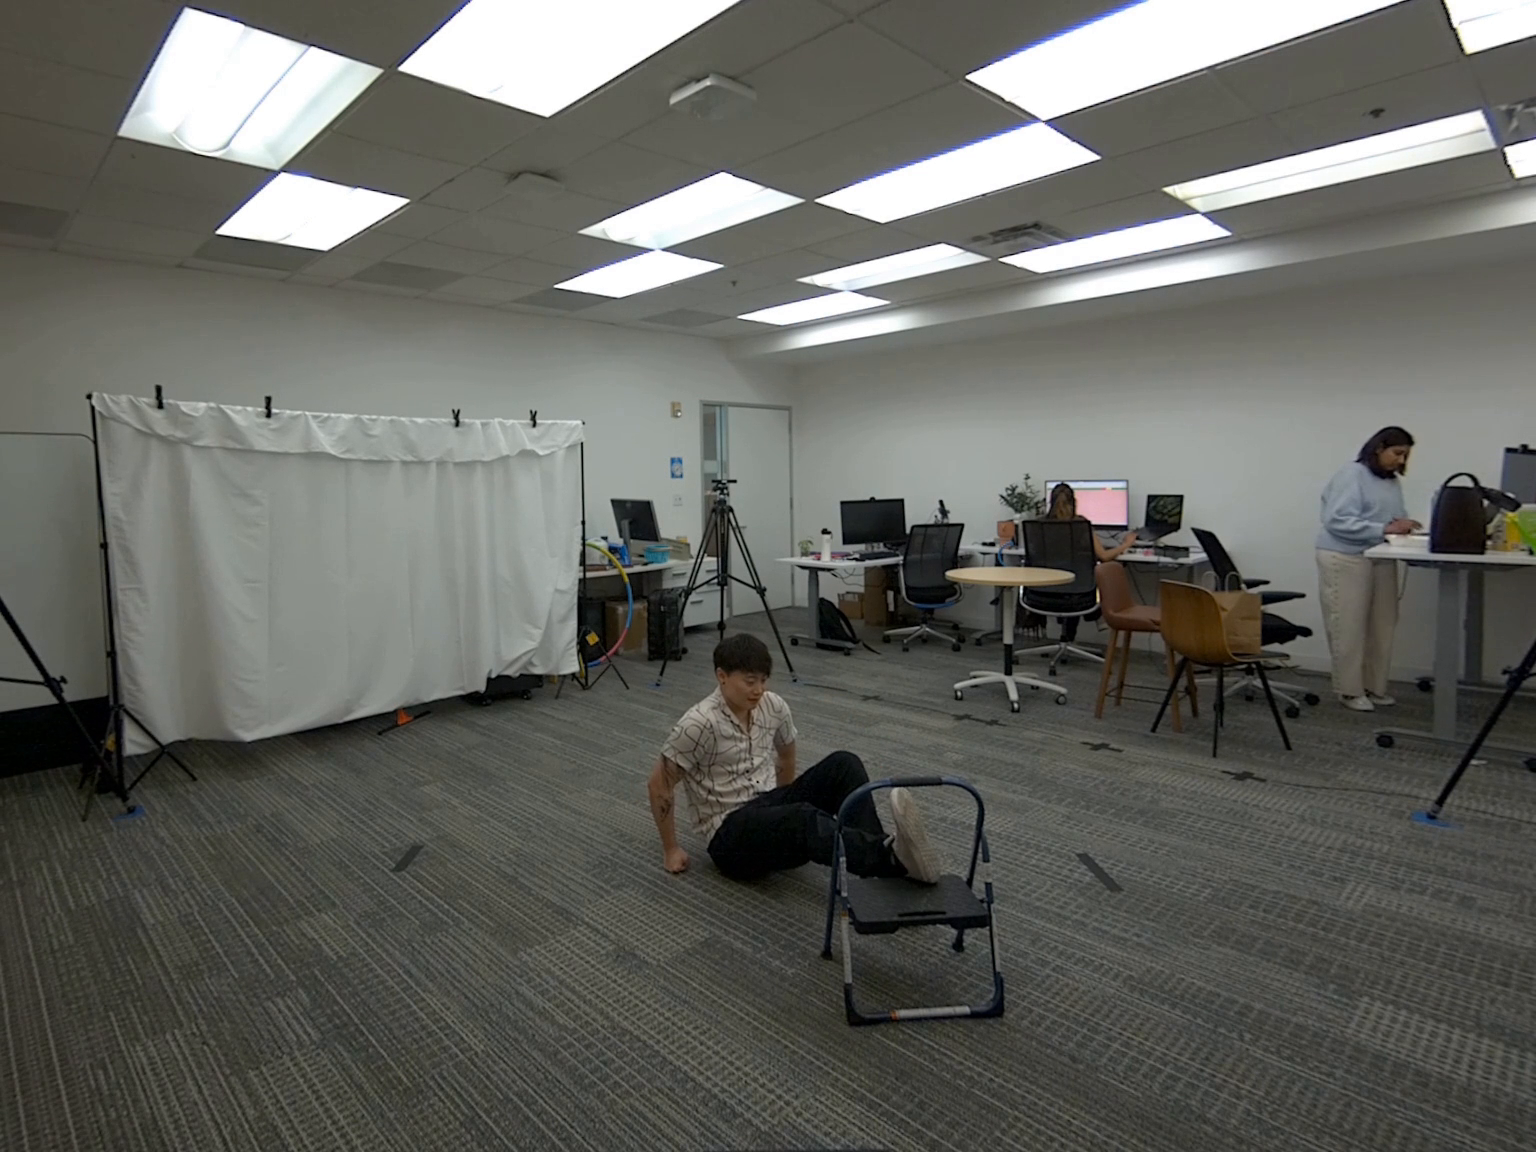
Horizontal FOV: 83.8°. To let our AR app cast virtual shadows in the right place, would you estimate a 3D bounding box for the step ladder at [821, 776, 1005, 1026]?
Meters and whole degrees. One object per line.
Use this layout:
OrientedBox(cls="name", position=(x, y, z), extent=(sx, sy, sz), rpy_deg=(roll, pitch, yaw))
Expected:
OrientedBox(cls="step ladder", position=(0.390, 0.831, 2.340), extent=(0.428, 0.604, 0.352), rpy_deg=(-2, 4, -6))
